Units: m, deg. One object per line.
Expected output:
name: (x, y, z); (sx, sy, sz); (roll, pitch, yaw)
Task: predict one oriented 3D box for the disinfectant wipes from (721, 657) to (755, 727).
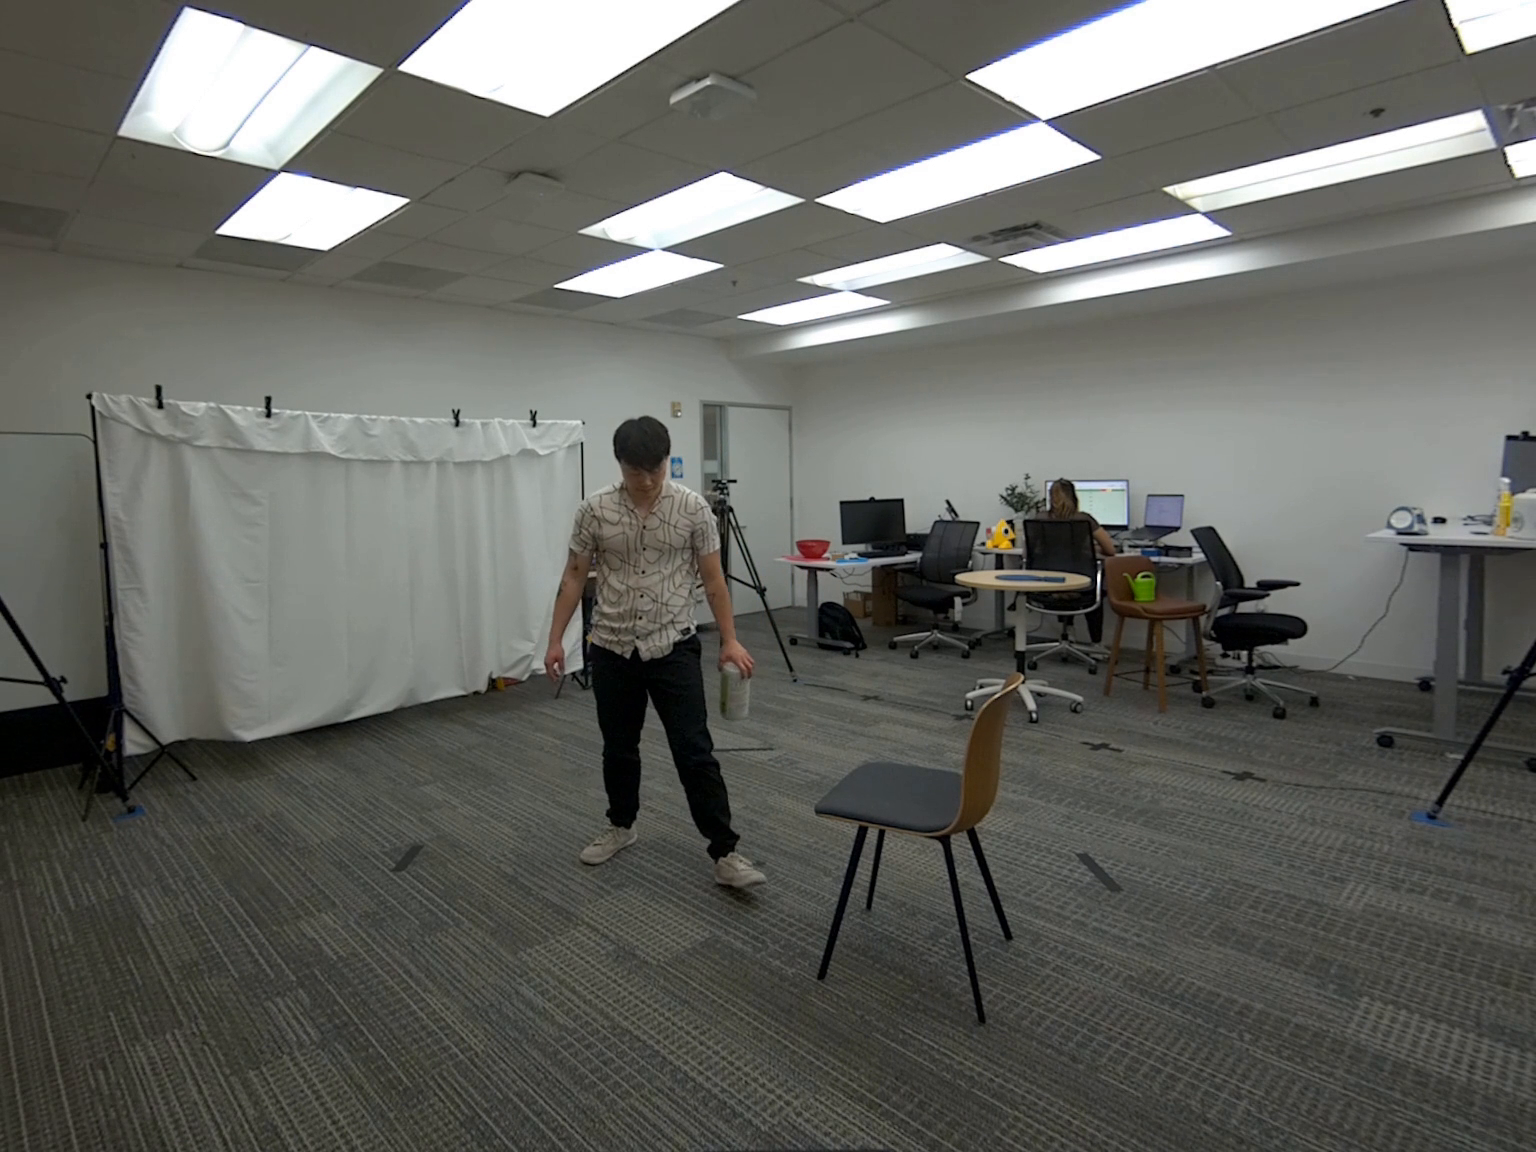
disinfectant wipes: (-0.114, 0.419, 3.122); (0.118, 0.214, 0.120); (0, 18, -2)
